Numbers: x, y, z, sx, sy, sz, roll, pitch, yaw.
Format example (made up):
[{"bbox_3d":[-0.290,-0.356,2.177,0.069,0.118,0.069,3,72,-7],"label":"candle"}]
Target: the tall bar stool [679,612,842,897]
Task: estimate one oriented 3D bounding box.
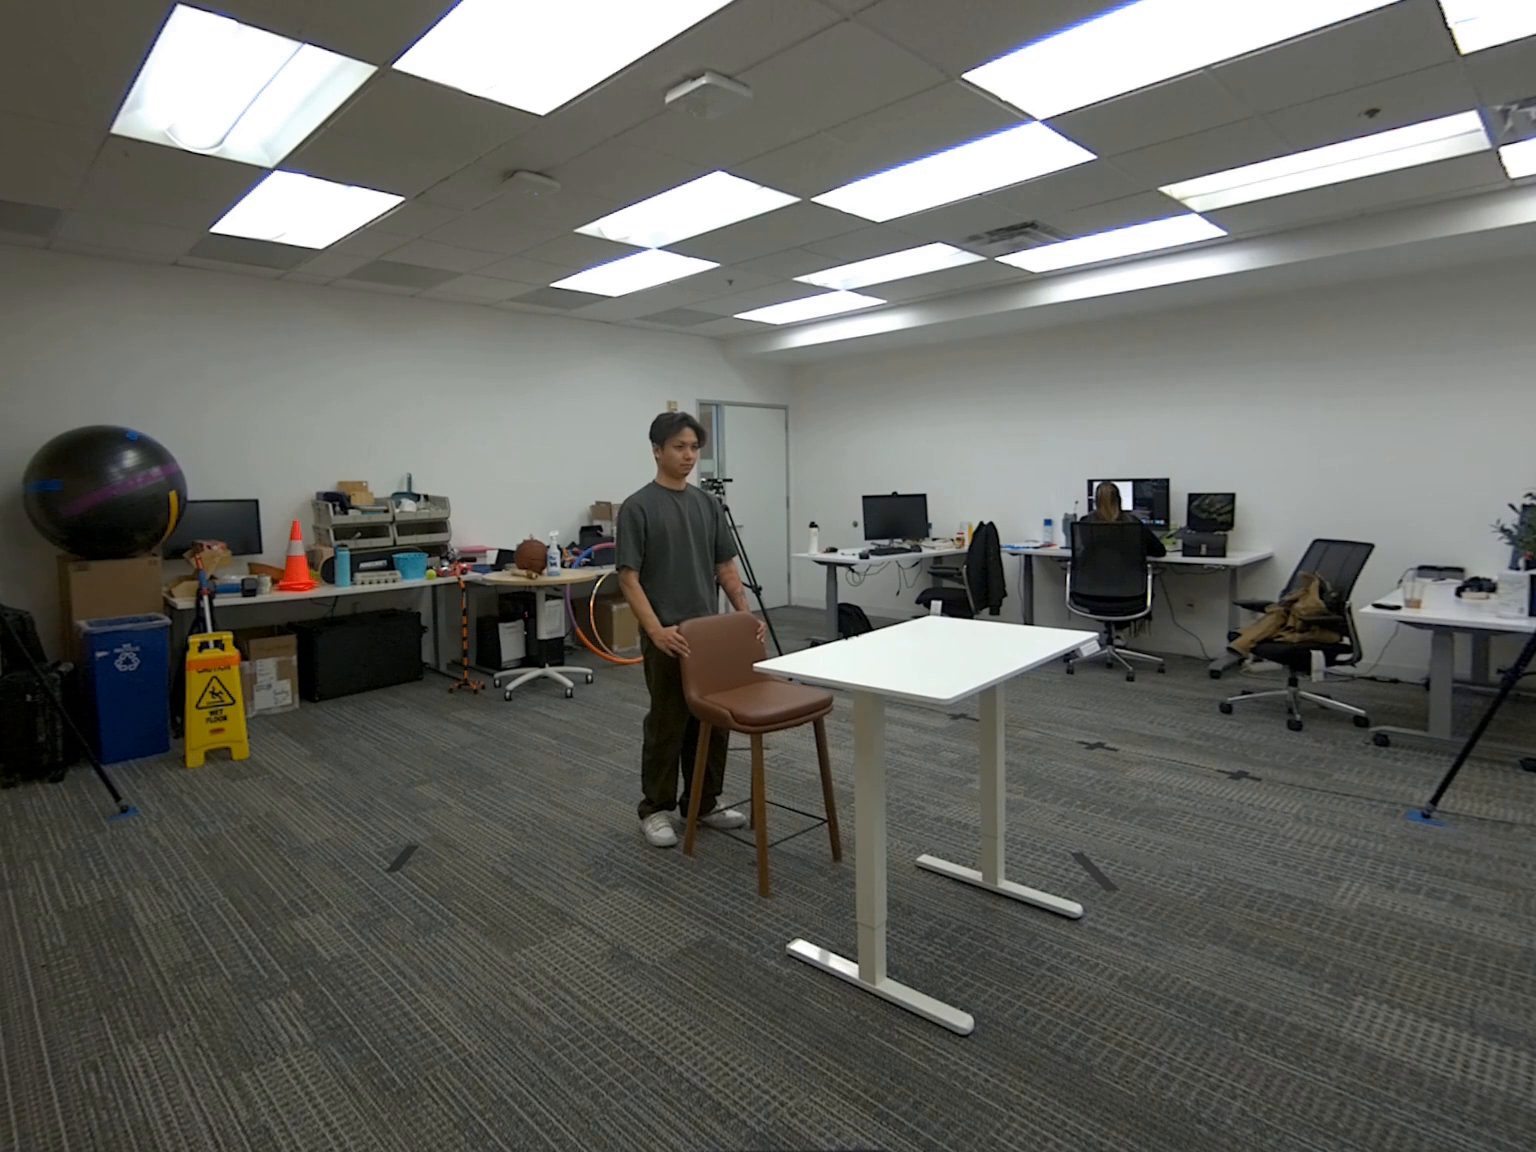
[{"bbox_3d":[-0.037,0.606,3.131,0.444,0.888,0.481,-3,3,-43],"label":"tall bar stool"}]
